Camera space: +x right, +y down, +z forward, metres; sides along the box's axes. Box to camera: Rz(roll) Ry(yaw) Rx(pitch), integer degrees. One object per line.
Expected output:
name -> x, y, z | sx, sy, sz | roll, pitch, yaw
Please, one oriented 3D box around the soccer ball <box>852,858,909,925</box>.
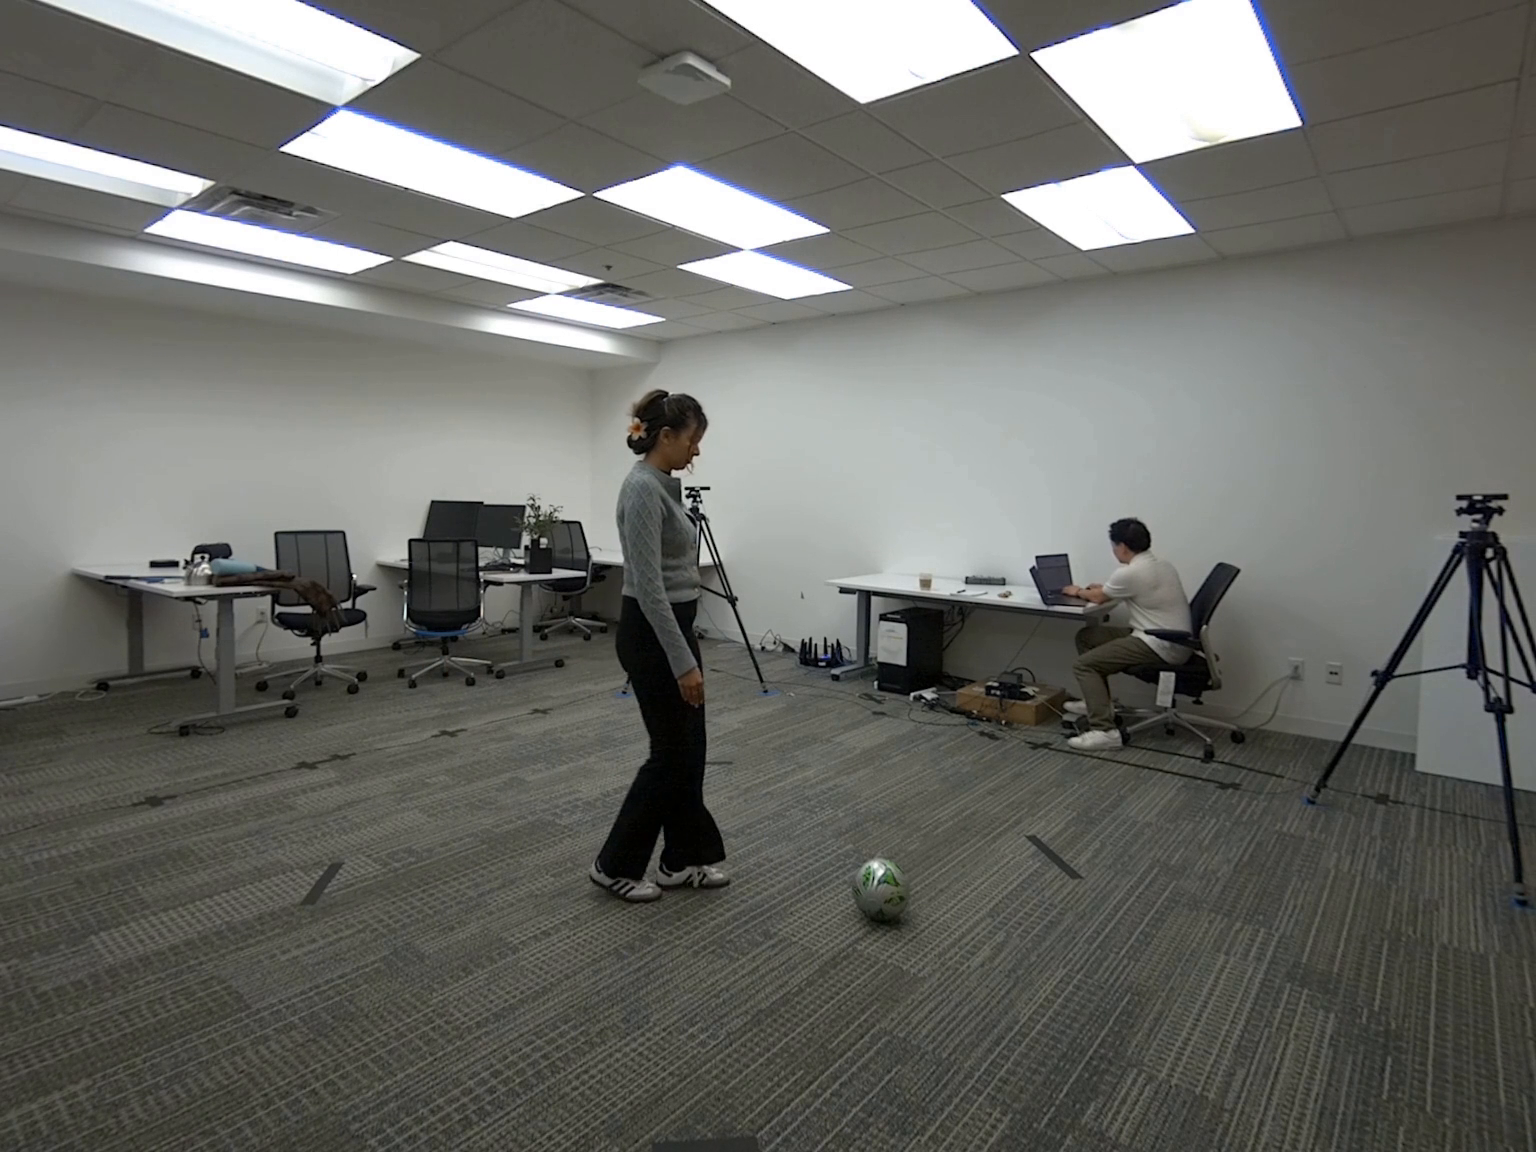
soccer ball -> 0.364, 1.020, 2.772 | 0.187, 0.187, 0.188 | 1, 4, -2
